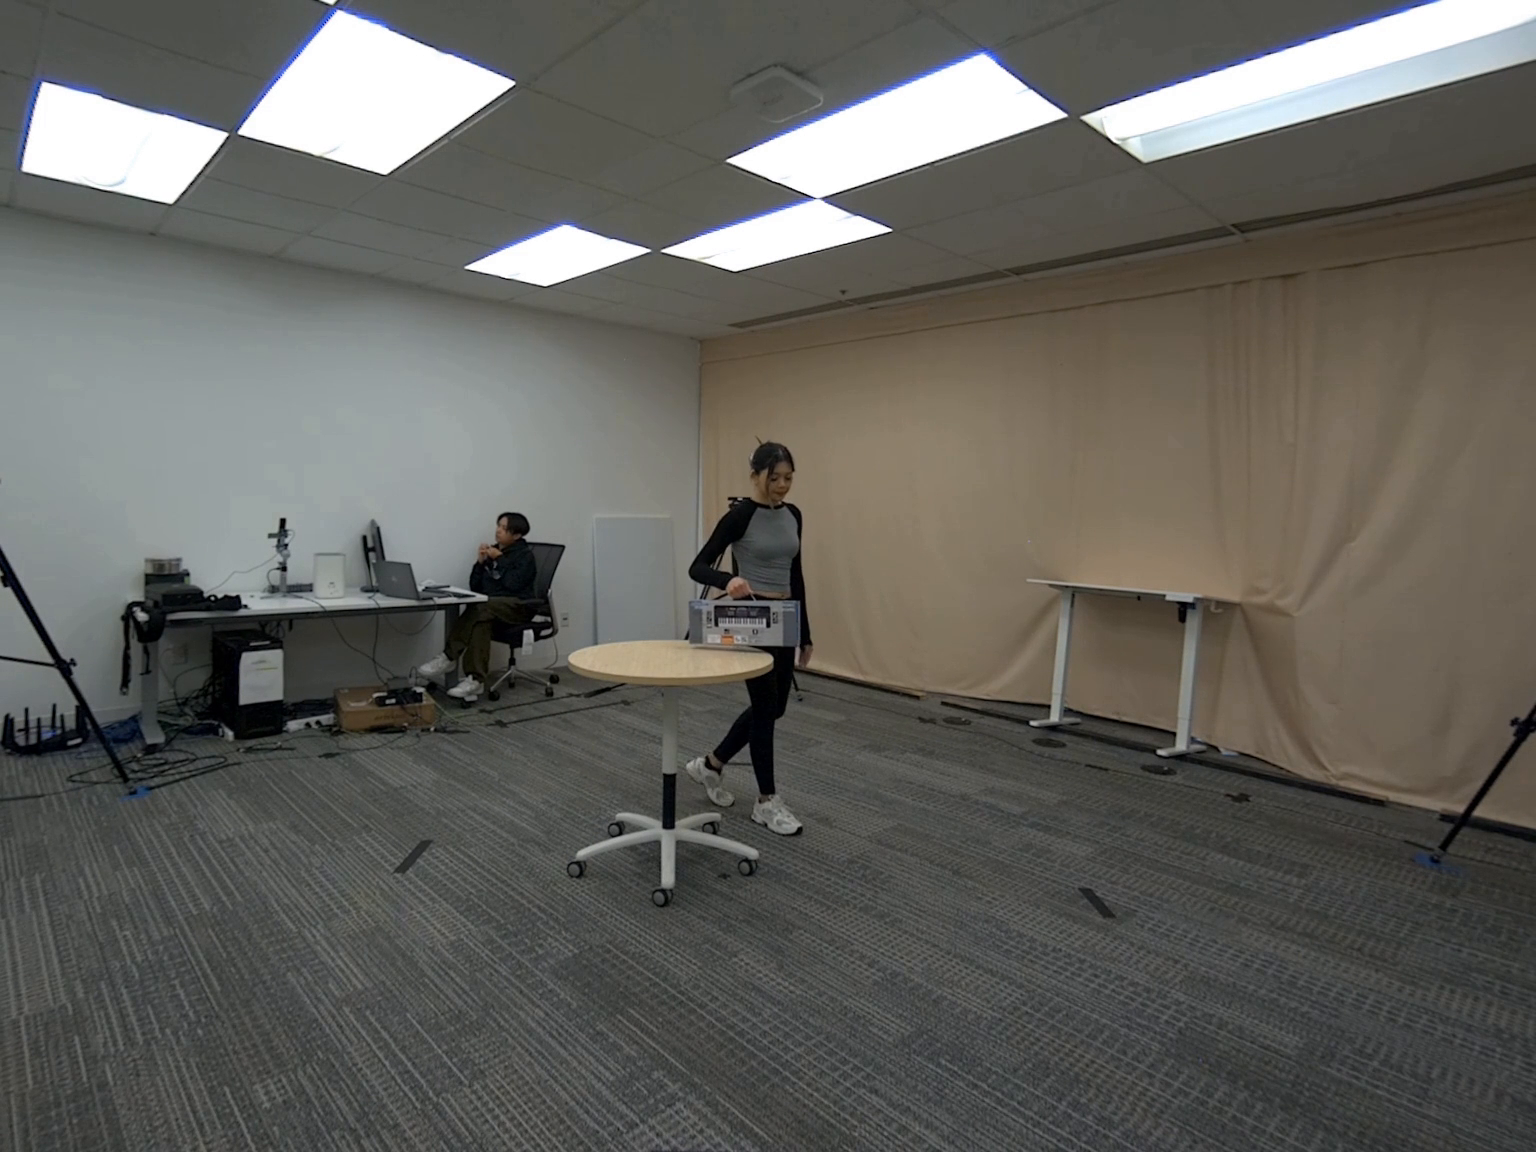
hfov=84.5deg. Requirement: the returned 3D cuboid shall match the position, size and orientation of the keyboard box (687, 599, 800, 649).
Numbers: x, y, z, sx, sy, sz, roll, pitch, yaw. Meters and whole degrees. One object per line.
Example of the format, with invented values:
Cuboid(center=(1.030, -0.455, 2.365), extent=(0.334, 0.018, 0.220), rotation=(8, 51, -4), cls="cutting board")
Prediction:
Cuboid(center=(-0.101, 0.184, 3.293), extent=(0.442, 0.176, 0.058), rotation=(1, 2, 15), cls="keyboard box")
